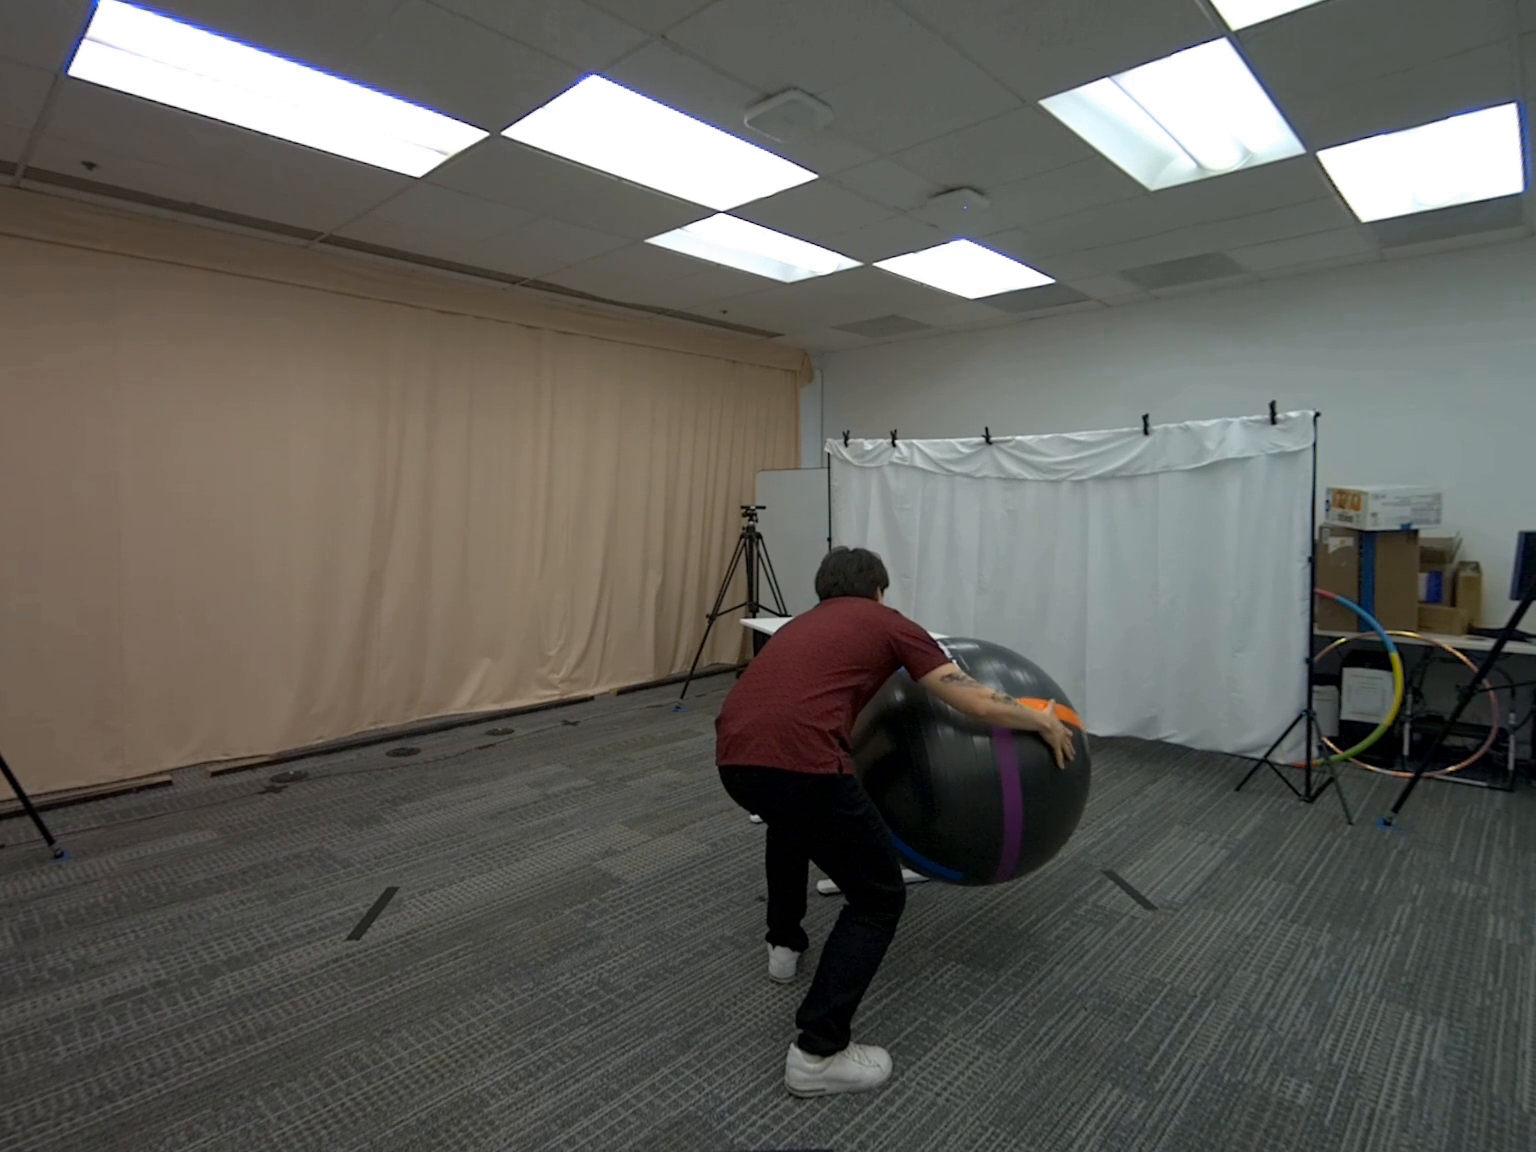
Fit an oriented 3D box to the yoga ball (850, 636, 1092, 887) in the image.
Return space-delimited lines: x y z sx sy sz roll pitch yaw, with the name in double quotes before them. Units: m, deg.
"yoga ball" 0.622 0.585 2.663 0.757 0.756 0.760 0 4 -2
